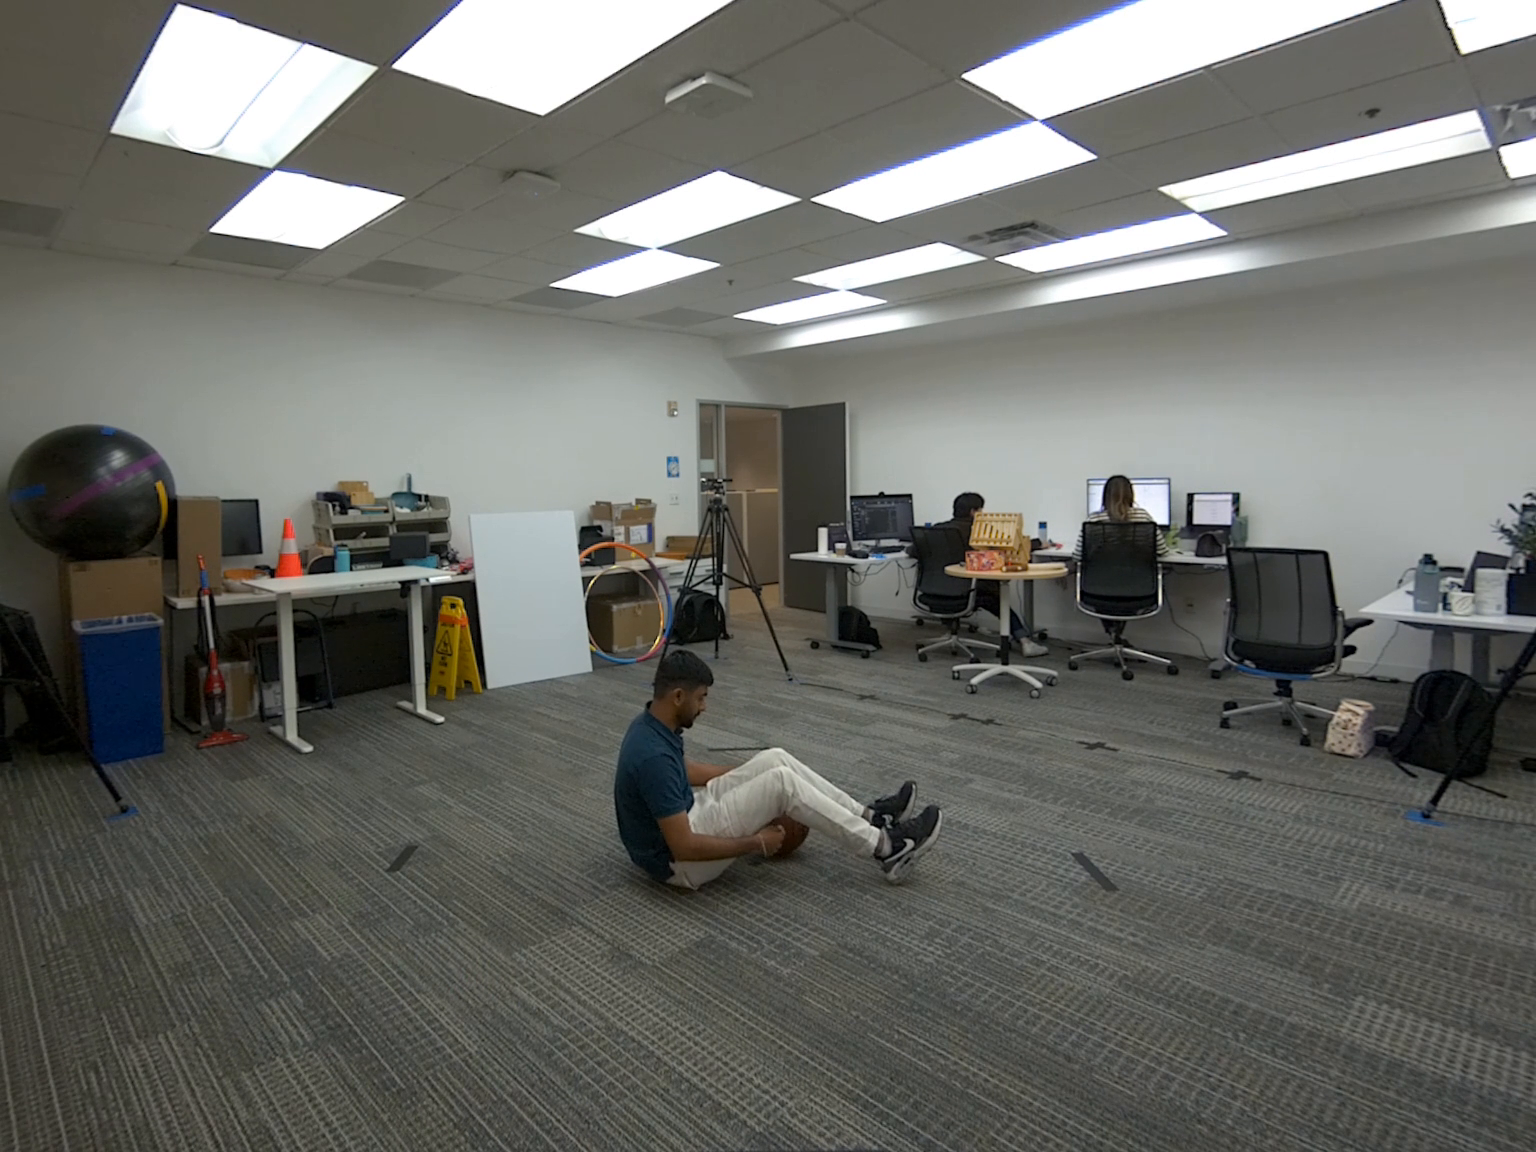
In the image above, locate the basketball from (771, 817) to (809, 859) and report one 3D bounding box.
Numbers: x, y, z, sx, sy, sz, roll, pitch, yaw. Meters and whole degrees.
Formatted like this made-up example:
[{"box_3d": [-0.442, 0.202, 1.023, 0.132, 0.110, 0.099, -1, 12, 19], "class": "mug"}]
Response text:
[{"box_3d": [0.040, 0.889, 3.223, 0.236, 0.235, 0.237, -1, 5, -2], "class": "basketball"}]
